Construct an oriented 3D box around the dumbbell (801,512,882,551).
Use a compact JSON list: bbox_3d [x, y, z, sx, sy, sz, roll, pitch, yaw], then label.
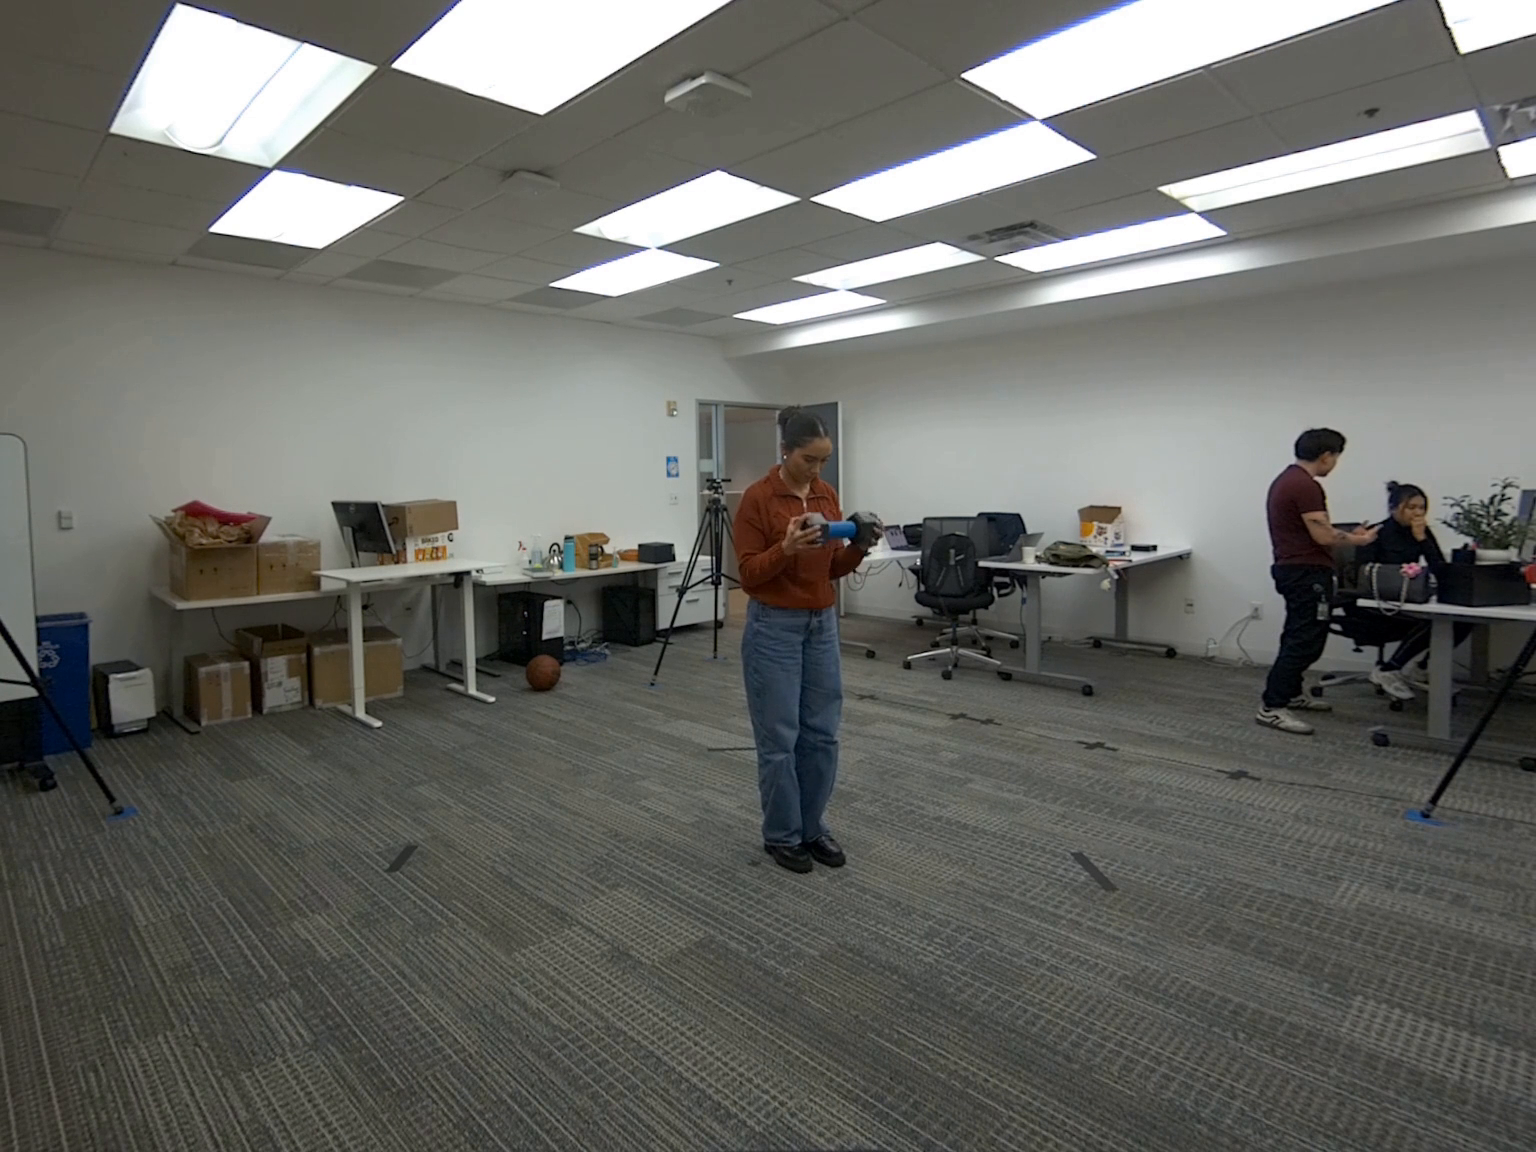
[{"bbox_3d":[0.225,-0.142,2.922,0.286,0.110,0.124,-2,-18,-32],"label":"dumbbell"}]
